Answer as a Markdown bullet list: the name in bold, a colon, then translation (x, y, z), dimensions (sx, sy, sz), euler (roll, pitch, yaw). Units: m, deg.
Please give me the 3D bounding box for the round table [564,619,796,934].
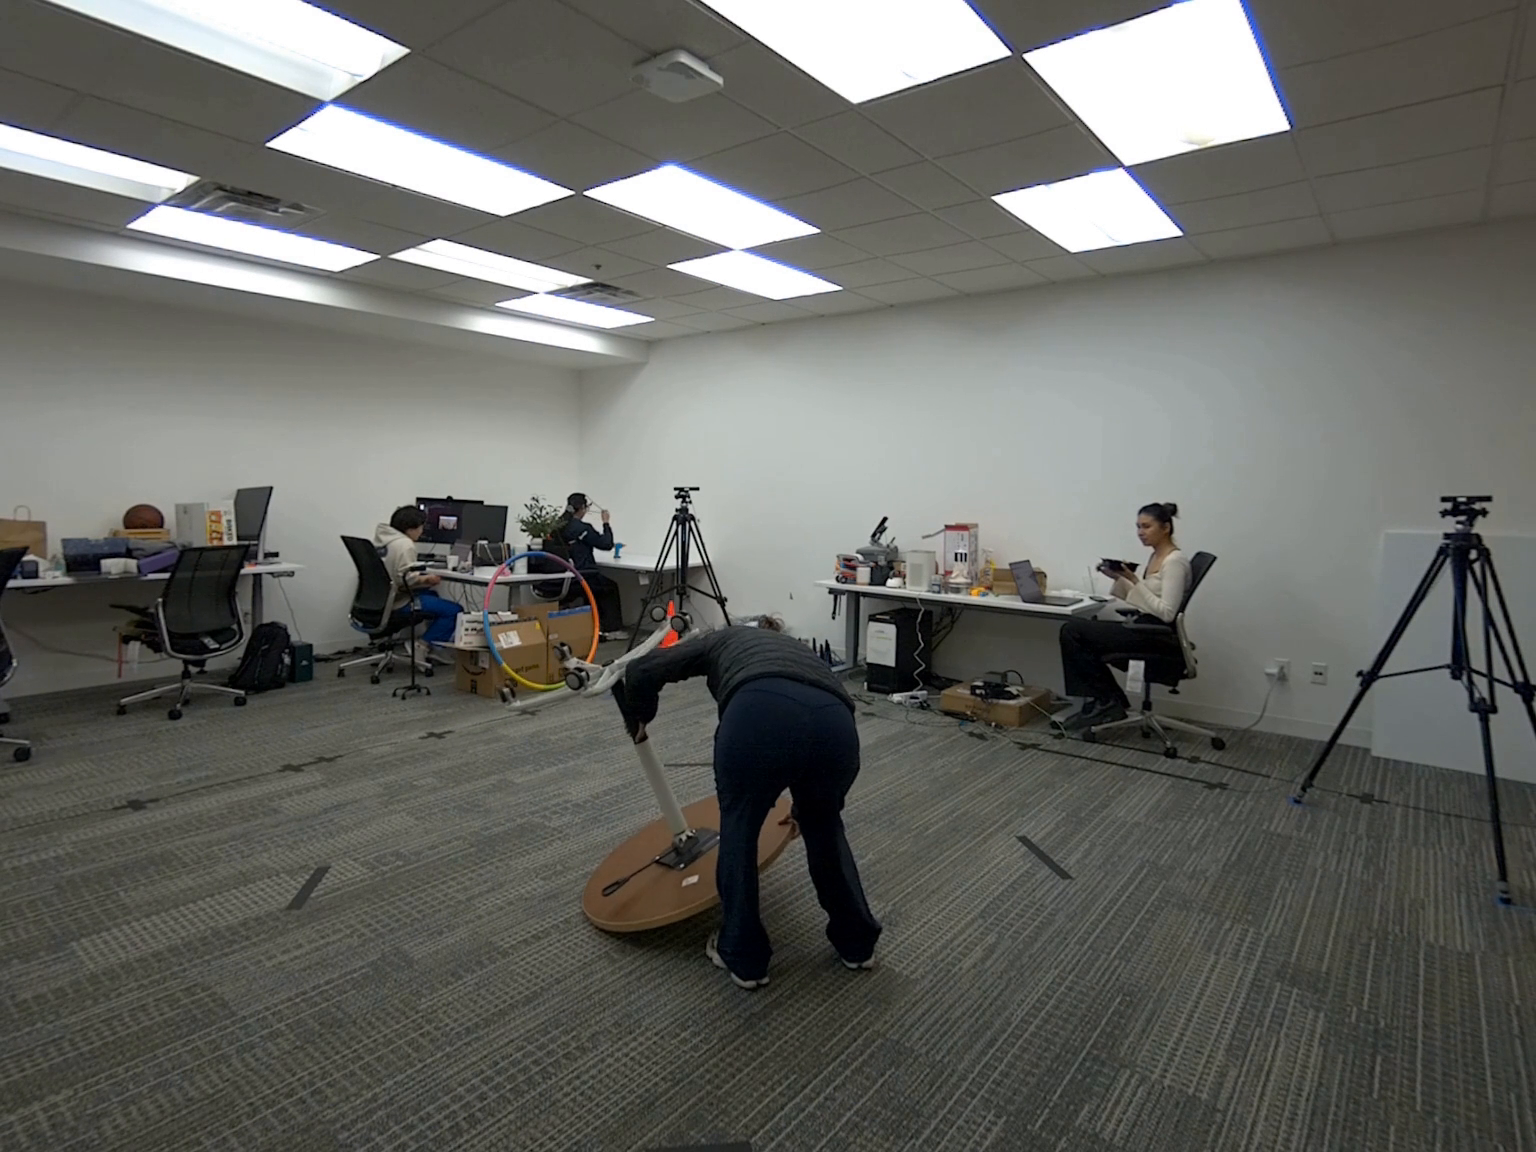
- **round table**: translation (-0.408, 0.575, 2.856), dimensions (0.785, 0.782, 0.790), euler (-22, 6, 0)
